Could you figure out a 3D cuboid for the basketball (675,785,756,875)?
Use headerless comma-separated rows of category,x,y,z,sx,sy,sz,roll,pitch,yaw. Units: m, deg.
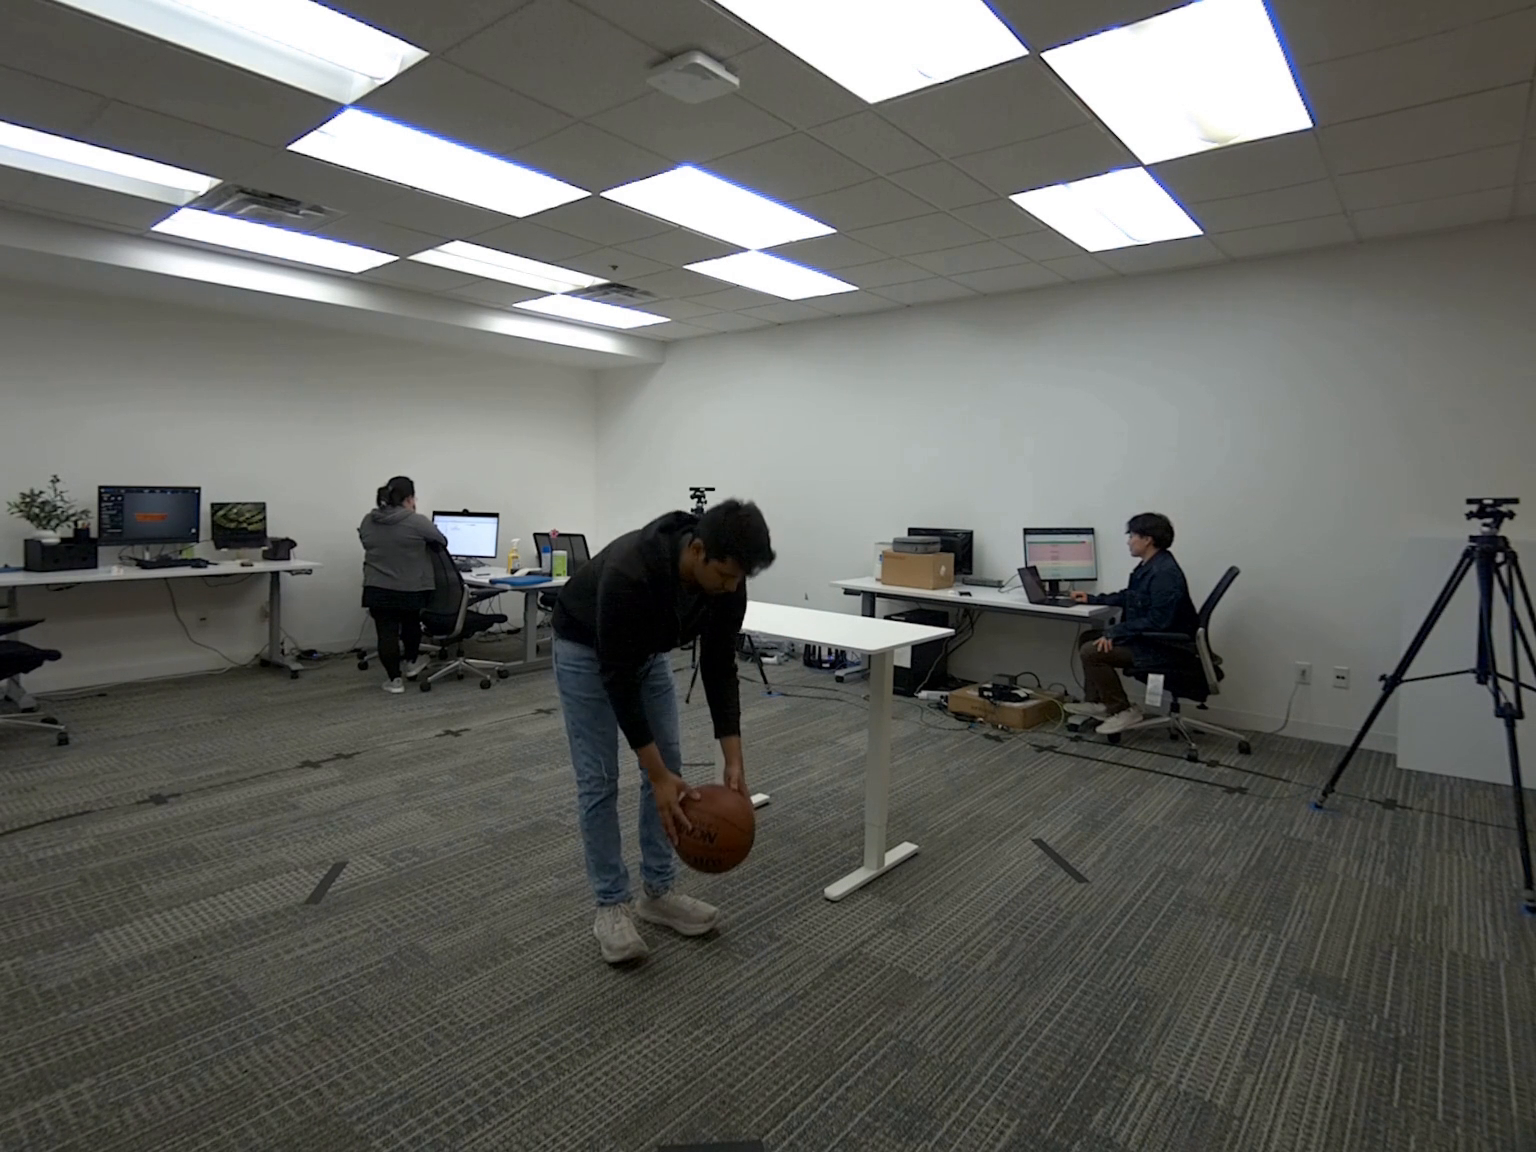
basketball,-0.163,0.684,2.377,0.235,0.235,0.237,1,4,-2
